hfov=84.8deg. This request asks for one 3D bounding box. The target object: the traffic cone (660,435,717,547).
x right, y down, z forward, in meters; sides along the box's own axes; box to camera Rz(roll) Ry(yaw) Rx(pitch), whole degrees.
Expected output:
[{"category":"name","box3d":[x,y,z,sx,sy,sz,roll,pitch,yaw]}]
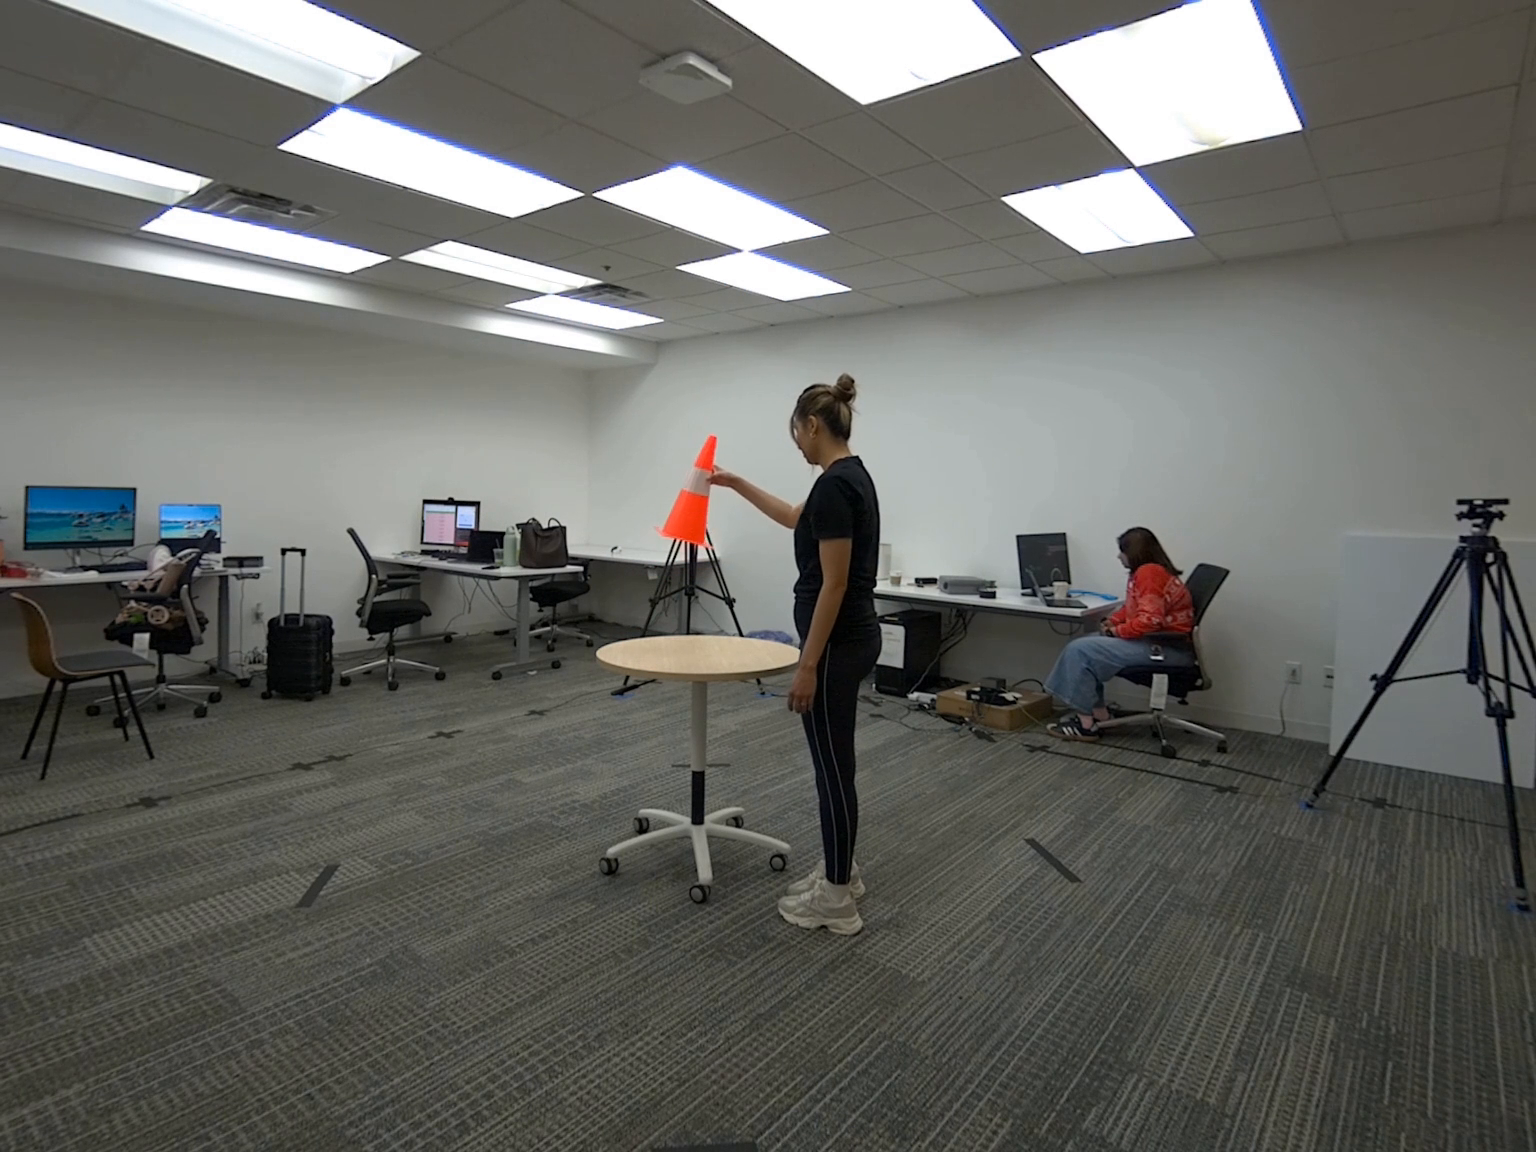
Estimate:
[{"category":"traffic cone","box3d":[-0.265,-0.313,3.040,0.200,0.382,0.209,15,5,-21]}]
